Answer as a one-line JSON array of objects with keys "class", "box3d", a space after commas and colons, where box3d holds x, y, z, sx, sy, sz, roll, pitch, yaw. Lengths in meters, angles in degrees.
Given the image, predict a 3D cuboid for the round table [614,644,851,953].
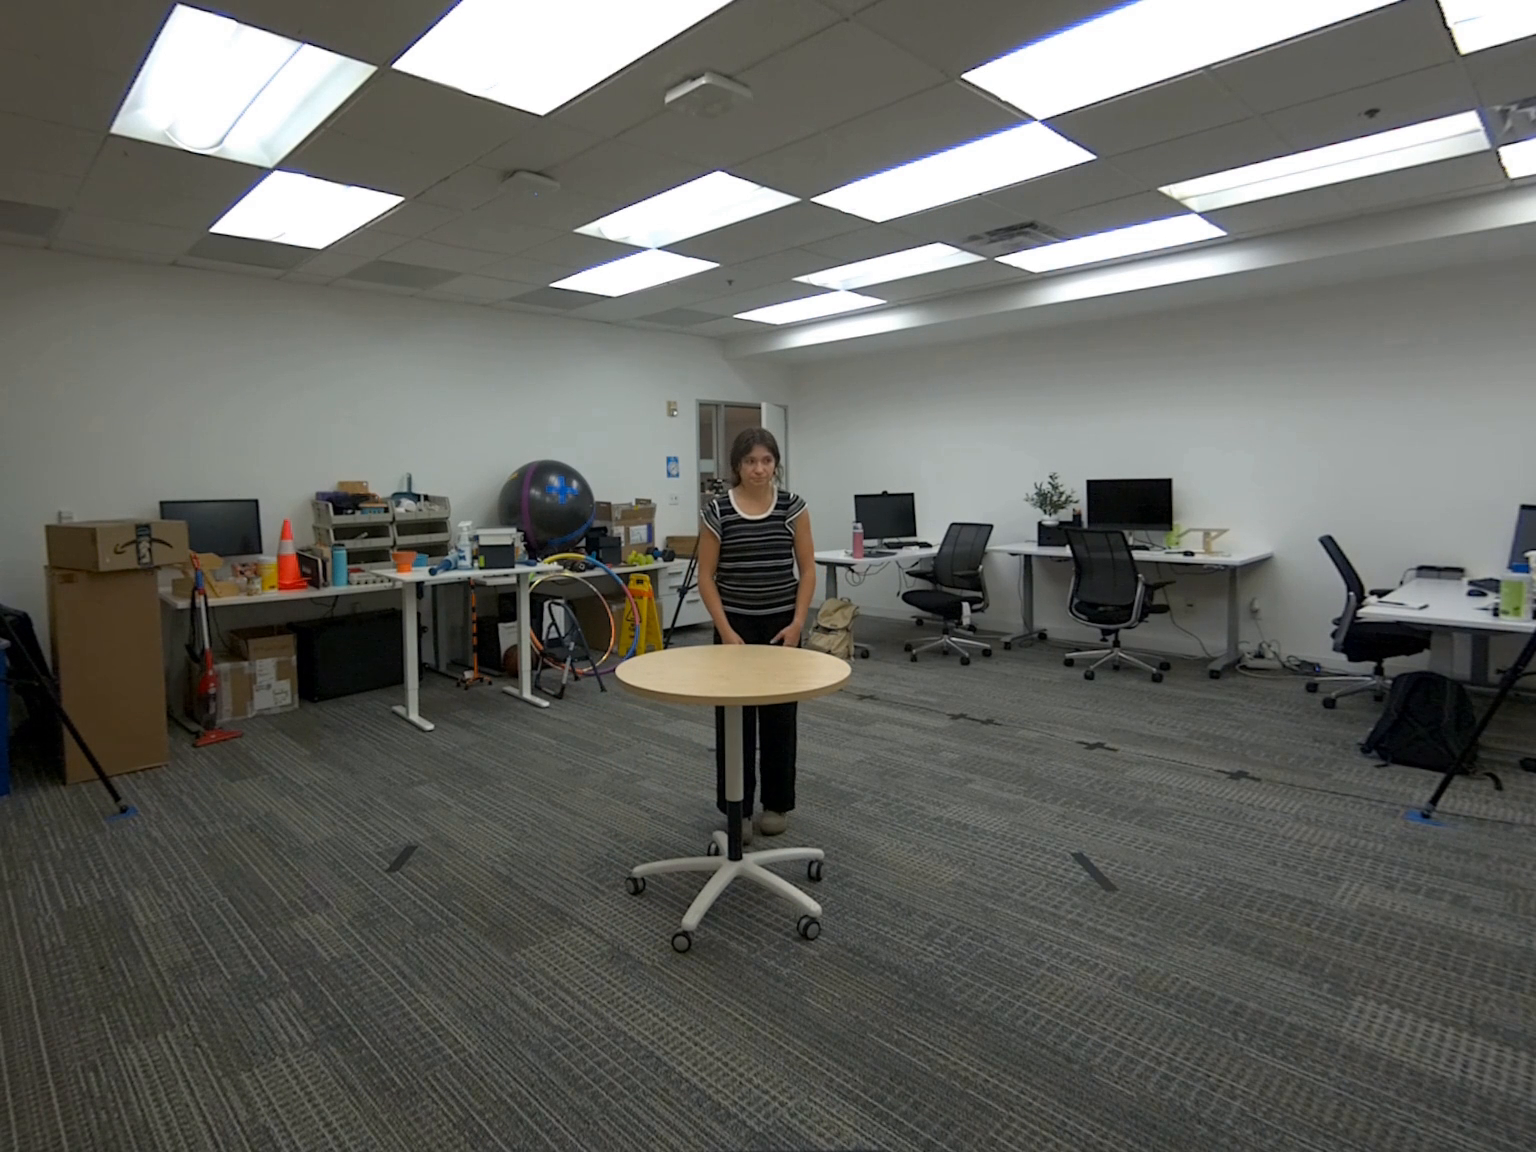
[{"class": "round table", "box3d": [-0.115, 0.687, 2.829, 0.784, 0.783, 0.789, -1, 5, -2]}]
